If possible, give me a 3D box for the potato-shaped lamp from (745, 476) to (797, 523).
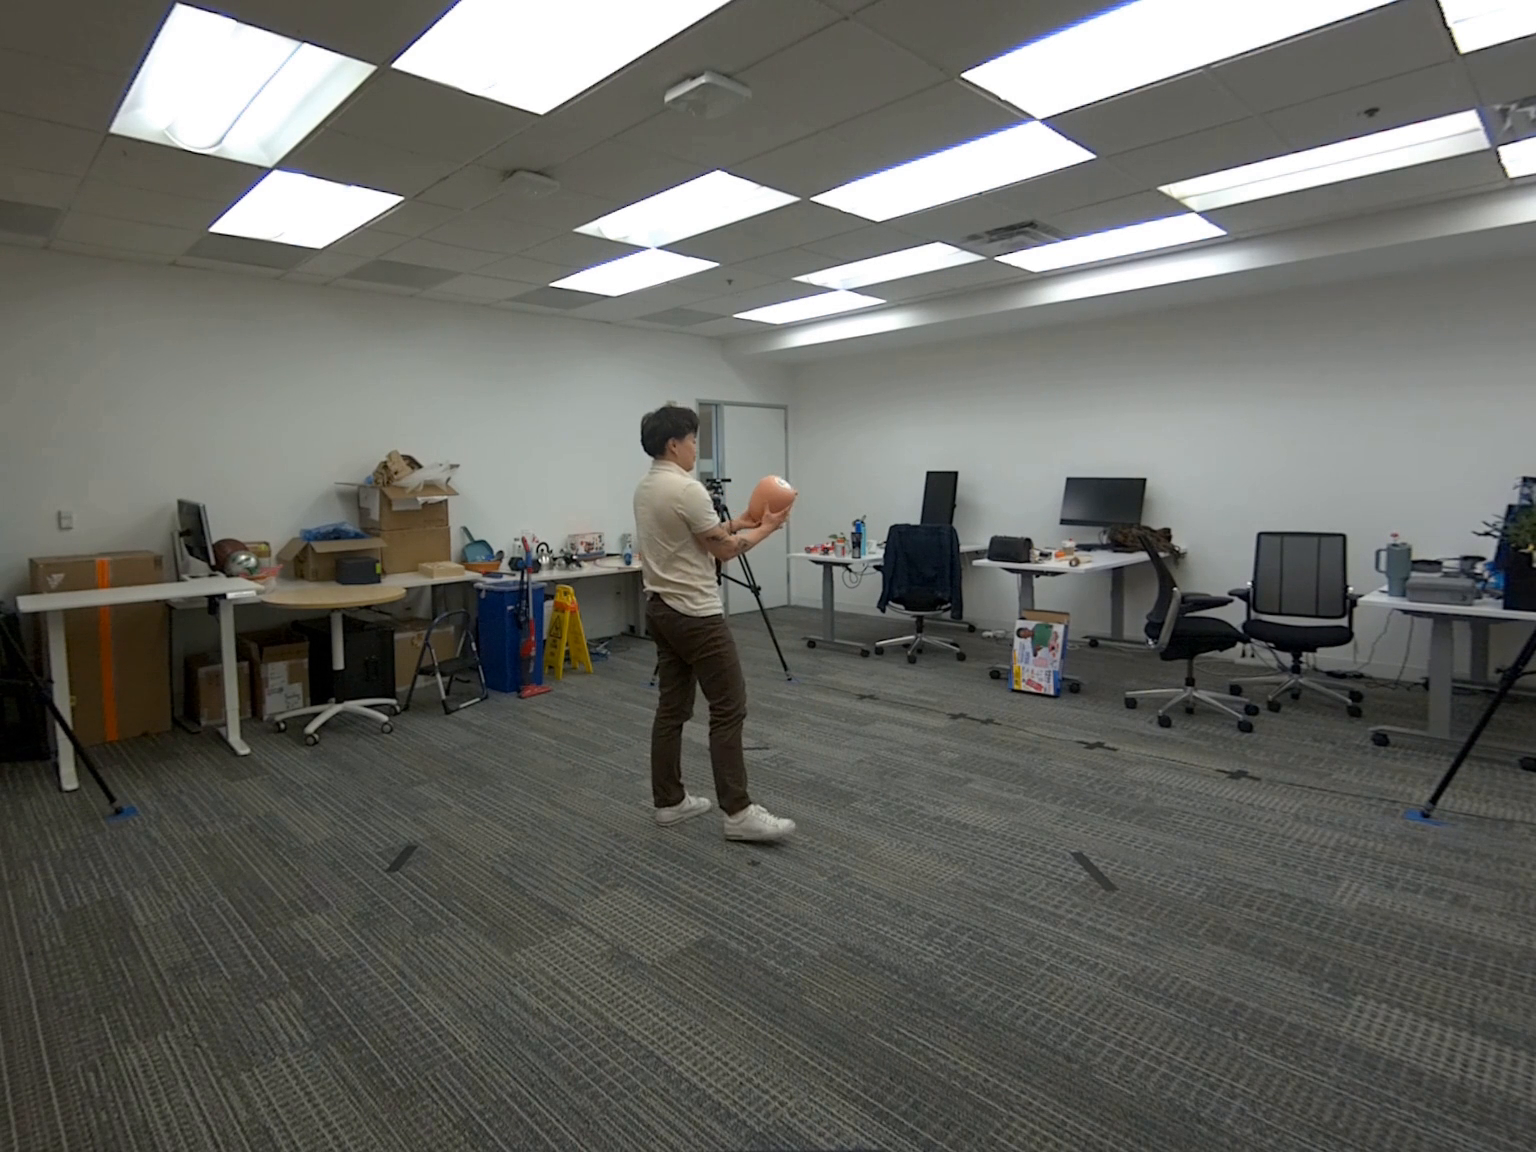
[{"bbox_3d":[0.005,-0.318,3.605,0.170,0.197,0.167,46,28,24],"label":"potato-shaped lamp"}]
